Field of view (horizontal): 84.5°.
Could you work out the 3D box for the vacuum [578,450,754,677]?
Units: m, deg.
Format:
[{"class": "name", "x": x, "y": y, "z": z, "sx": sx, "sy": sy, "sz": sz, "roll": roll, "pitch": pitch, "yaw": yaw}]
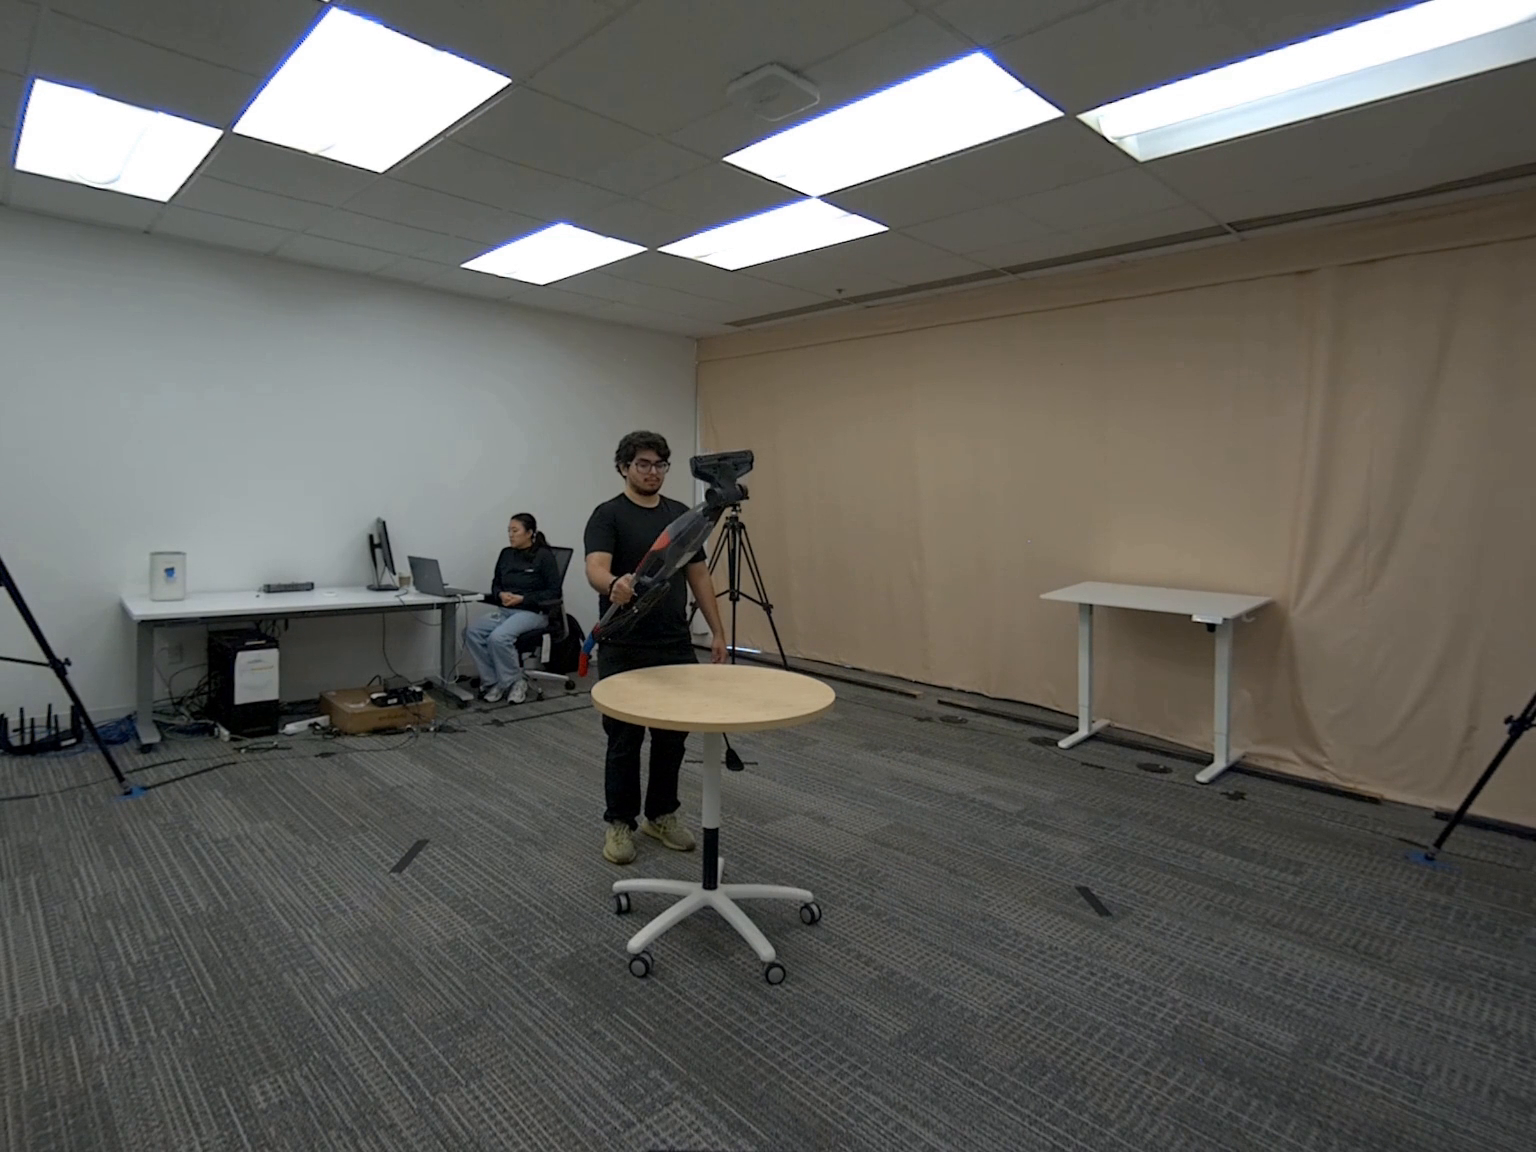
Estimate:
[{"class": "vacuum", "x": -0.386, "y": 0.028, "z": 2.694, "sx": 0.248, "sy": 0.147, "sz": 1.046, "roll": -14, "pitch": -29, "yaw": -47}]
